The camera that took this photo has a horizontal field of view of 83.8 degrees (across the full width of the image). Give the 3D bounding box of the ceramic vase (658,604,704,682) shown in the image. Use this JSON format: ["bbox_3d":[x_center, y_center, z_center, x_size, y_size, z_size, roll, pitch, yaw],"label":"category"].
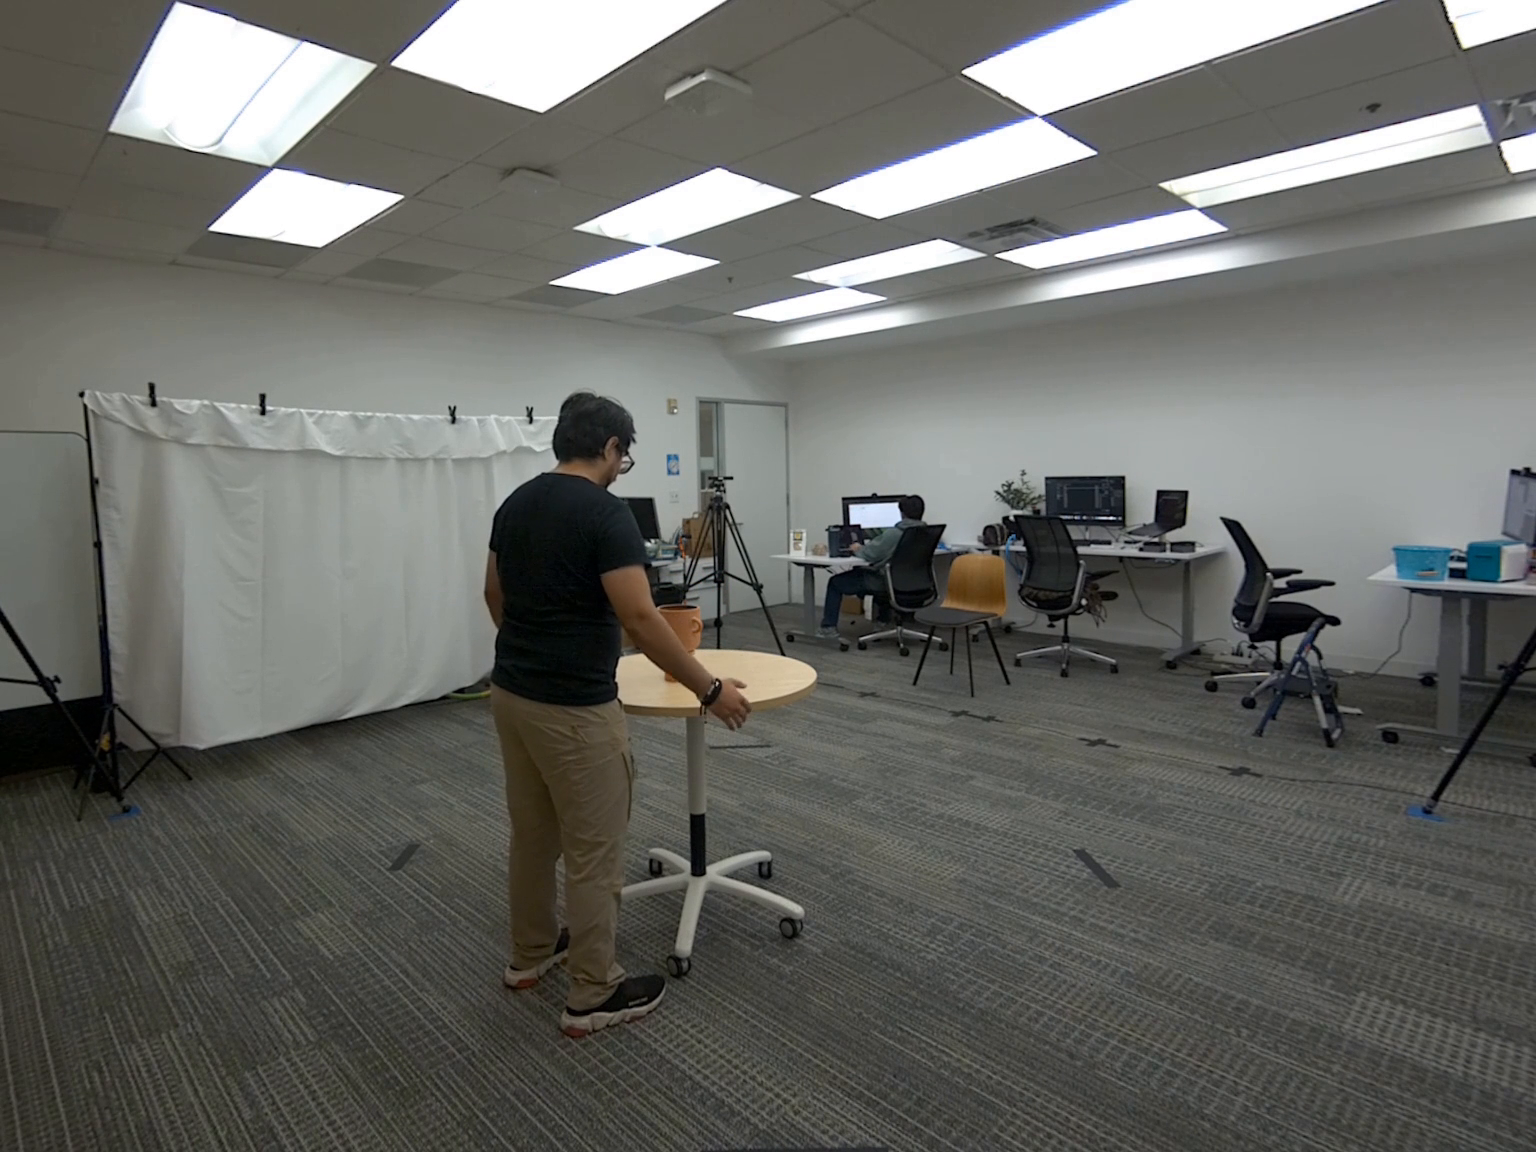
[{"bbox_3d":[-0.268,0.209,2.611,0.133,0.219,0.161,-2,5,-11],"label":"ceramic vase"}]
